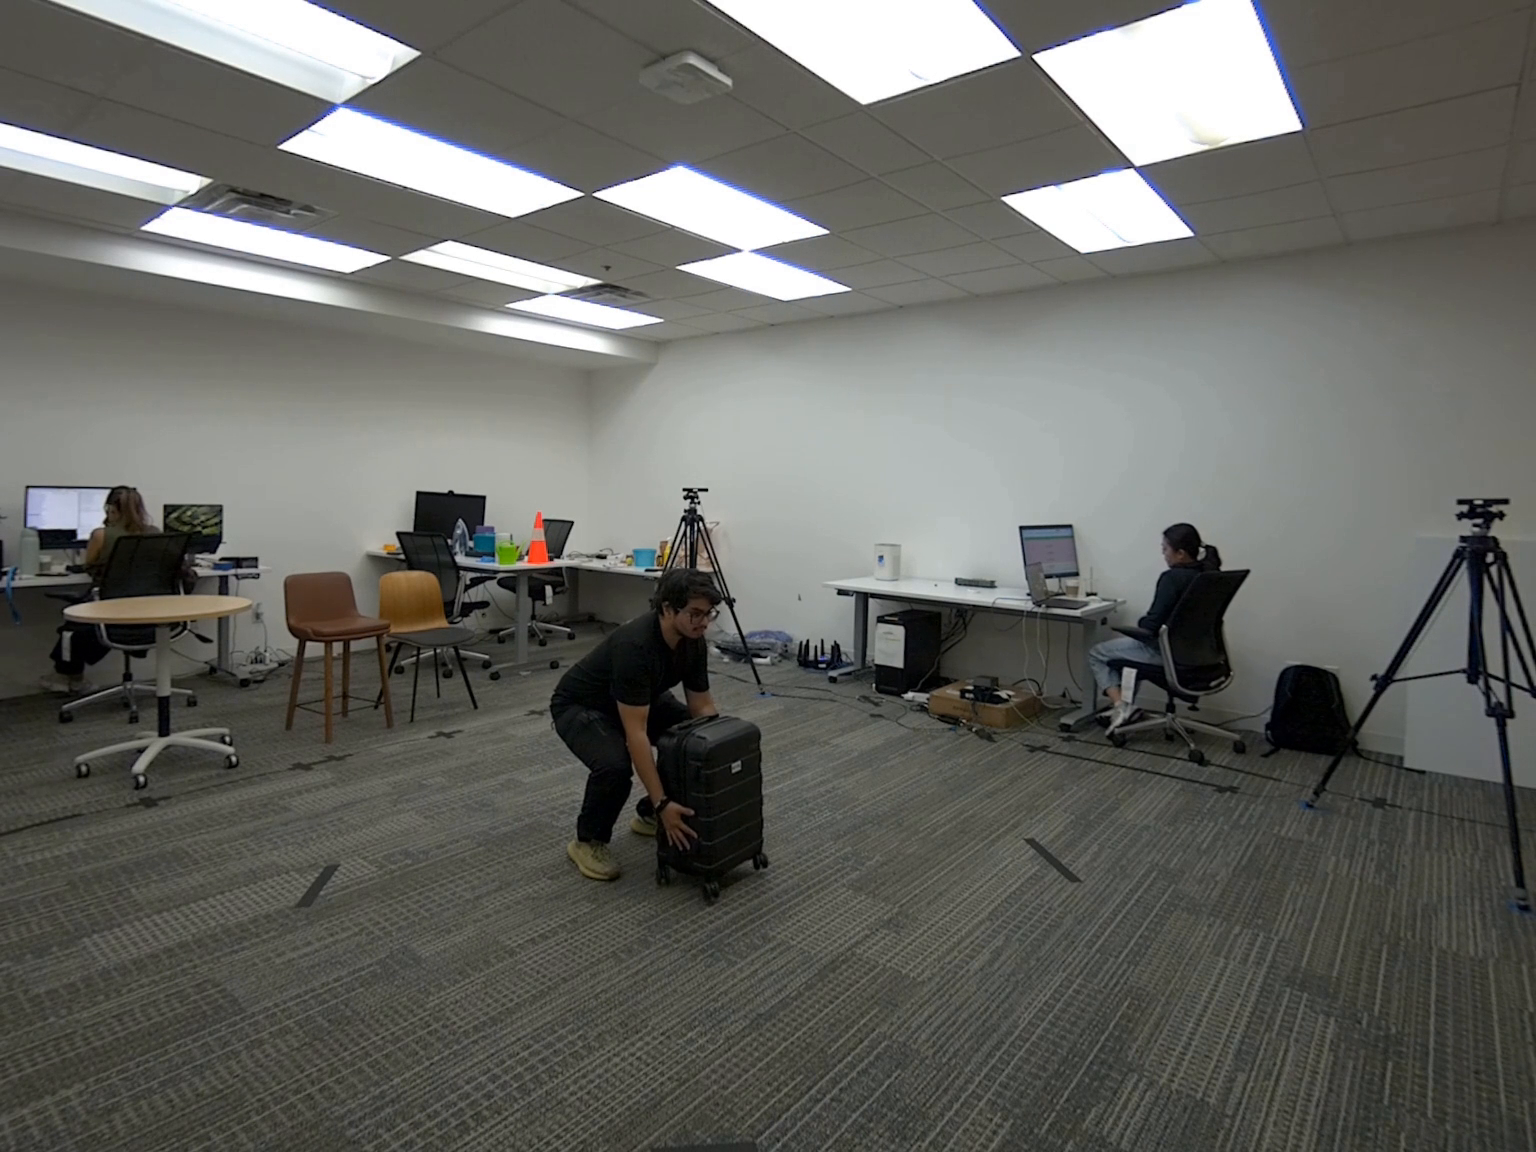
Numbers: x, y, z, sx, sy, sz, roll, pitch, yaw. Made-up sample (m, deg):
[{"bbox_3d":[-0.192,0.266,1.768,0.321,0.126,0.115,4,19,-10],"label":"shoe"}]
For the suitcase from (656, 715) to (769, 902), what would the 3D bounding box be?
[{"bbox_3d":[-0.209,0.784,3.032,0.256,0.549,0.364,0,2,36],"label":"suitcase"}]
